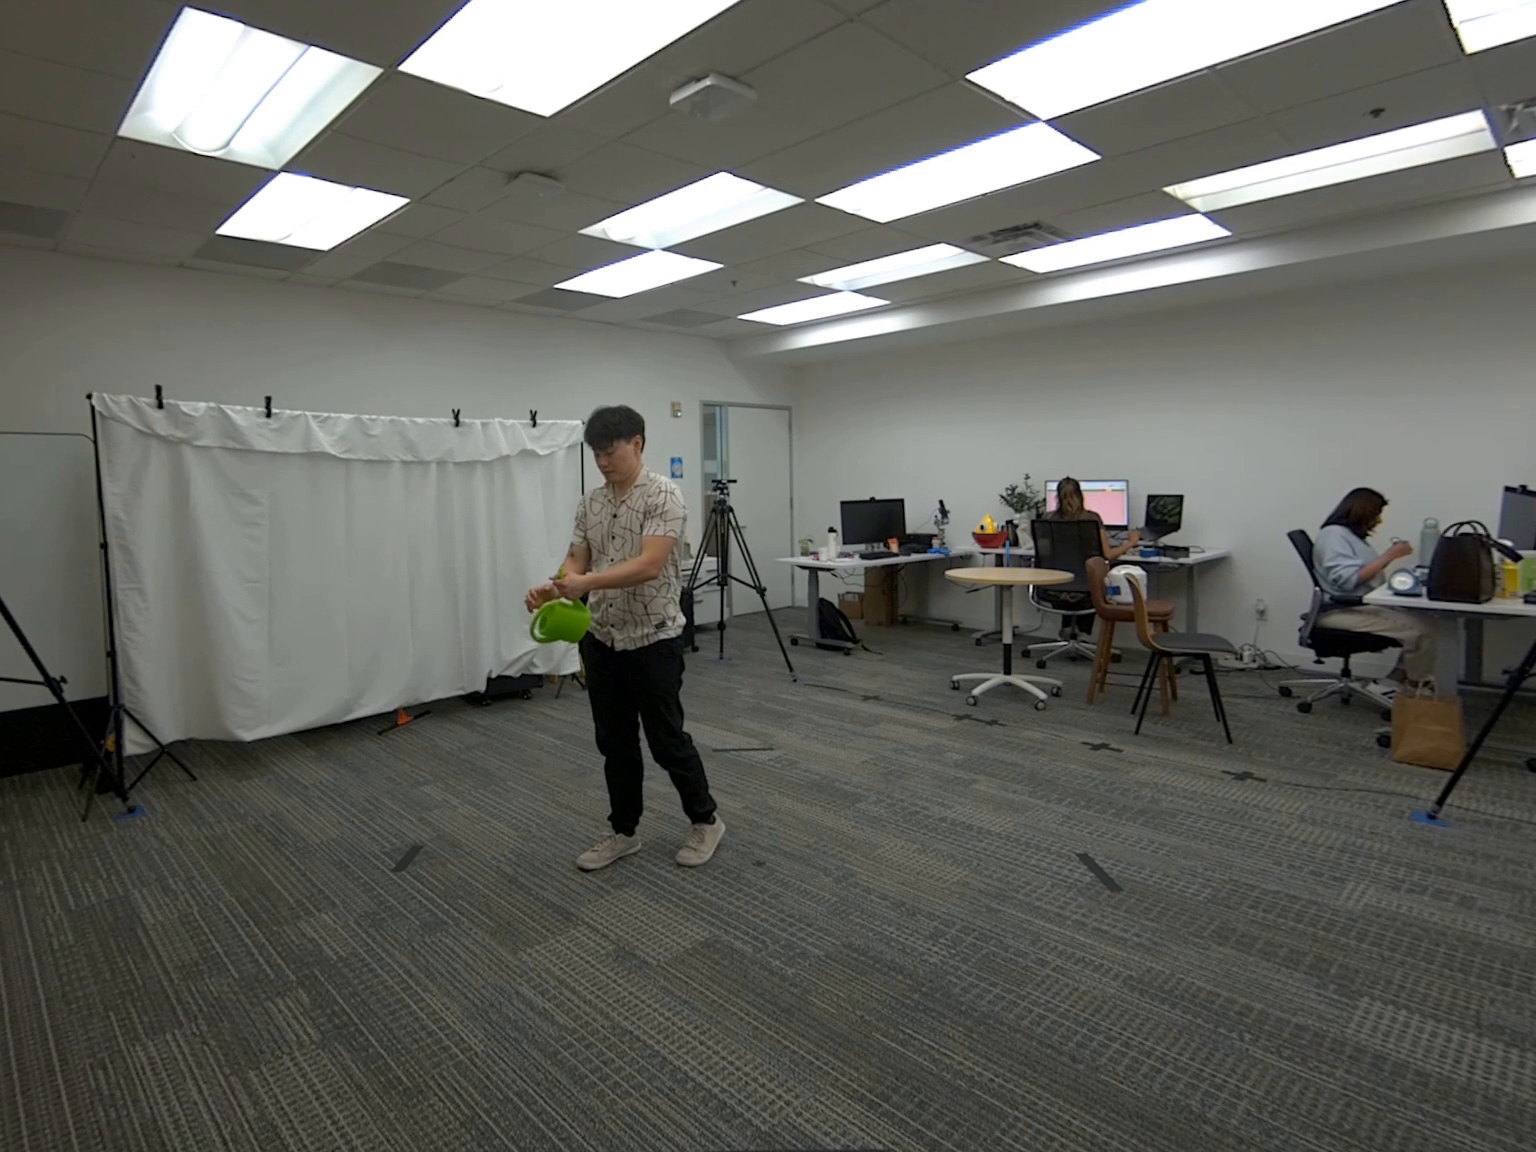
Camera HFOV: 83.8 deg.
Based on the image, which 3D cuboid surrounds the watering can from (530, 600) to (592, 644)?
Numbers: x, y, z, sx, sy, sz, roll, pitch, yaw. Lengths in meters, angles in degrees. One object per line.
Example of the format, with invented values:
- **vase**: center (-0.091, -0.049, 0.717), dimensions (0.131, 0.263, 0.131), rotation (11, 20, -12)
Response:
- **watering can**: center (-0.674, 0.118, 2.817), dimensions (0.171, 0.277, 0.102), rotation (20, 30, -36)
